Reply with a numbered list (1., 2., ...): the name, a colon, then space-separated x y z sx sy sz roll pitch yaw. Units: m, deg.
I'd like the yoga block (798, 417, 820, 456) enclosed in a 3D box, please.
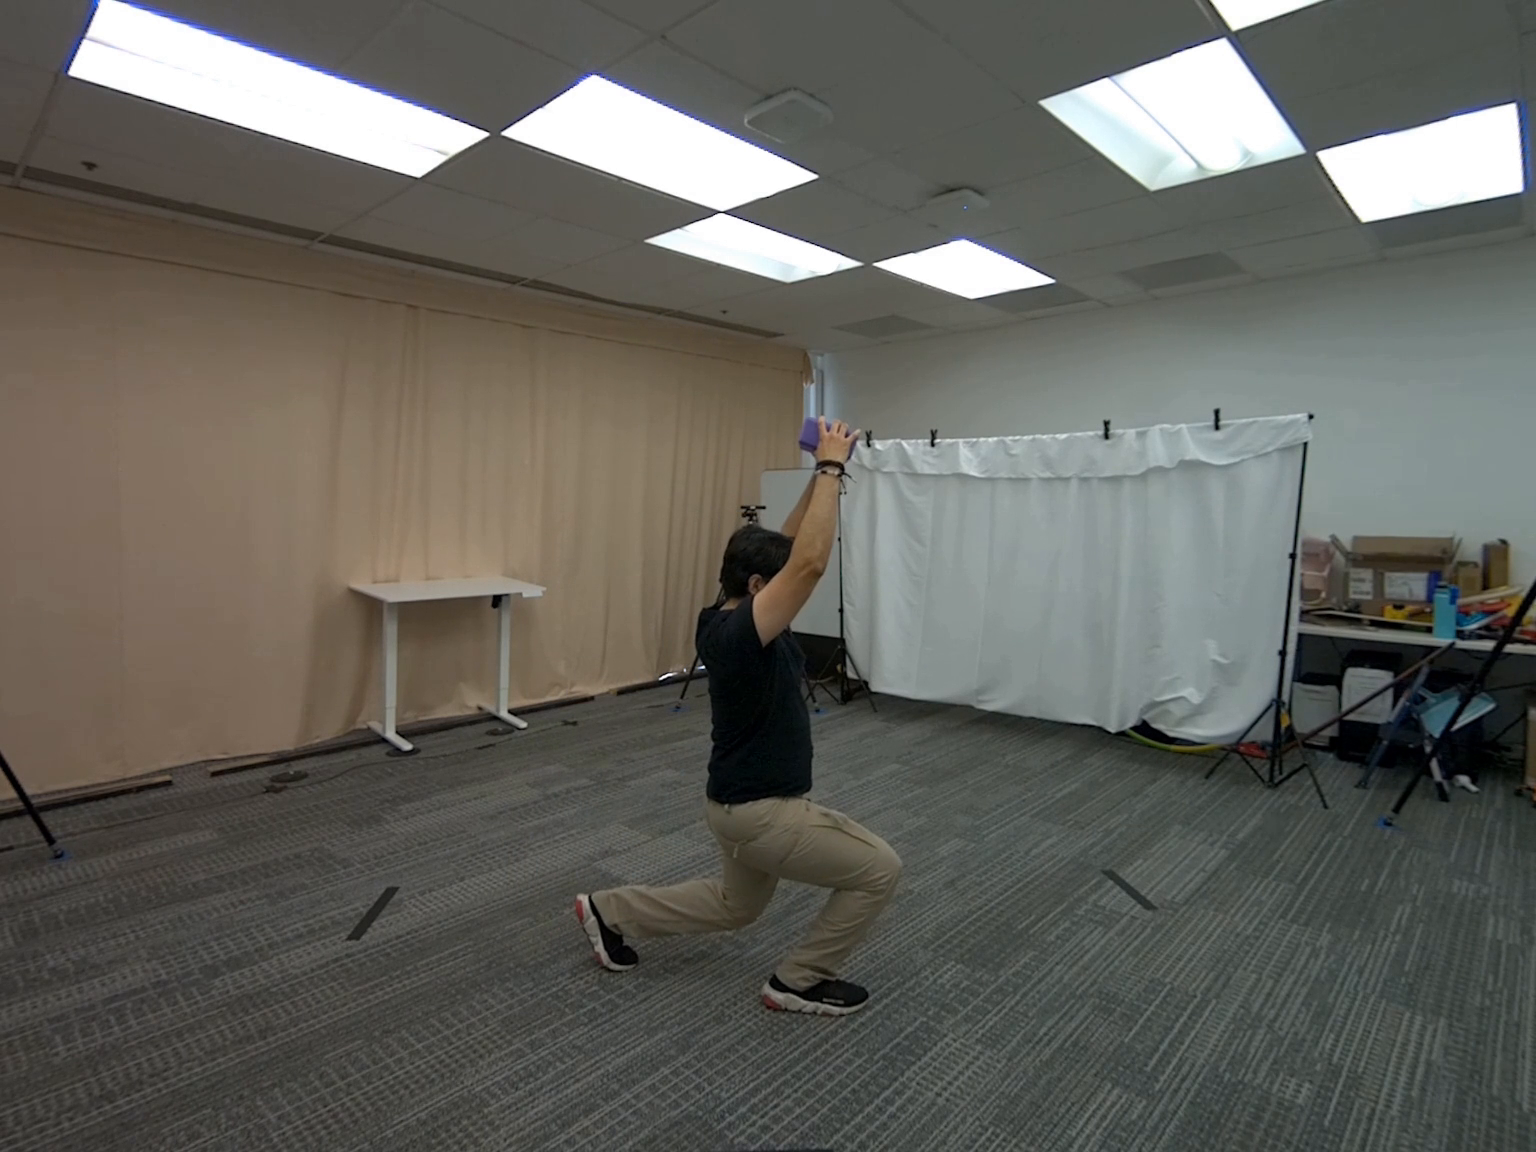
1. yoga block: 0.166 -0.380 2.301 0.149 0.076 0.229 19 5 1
